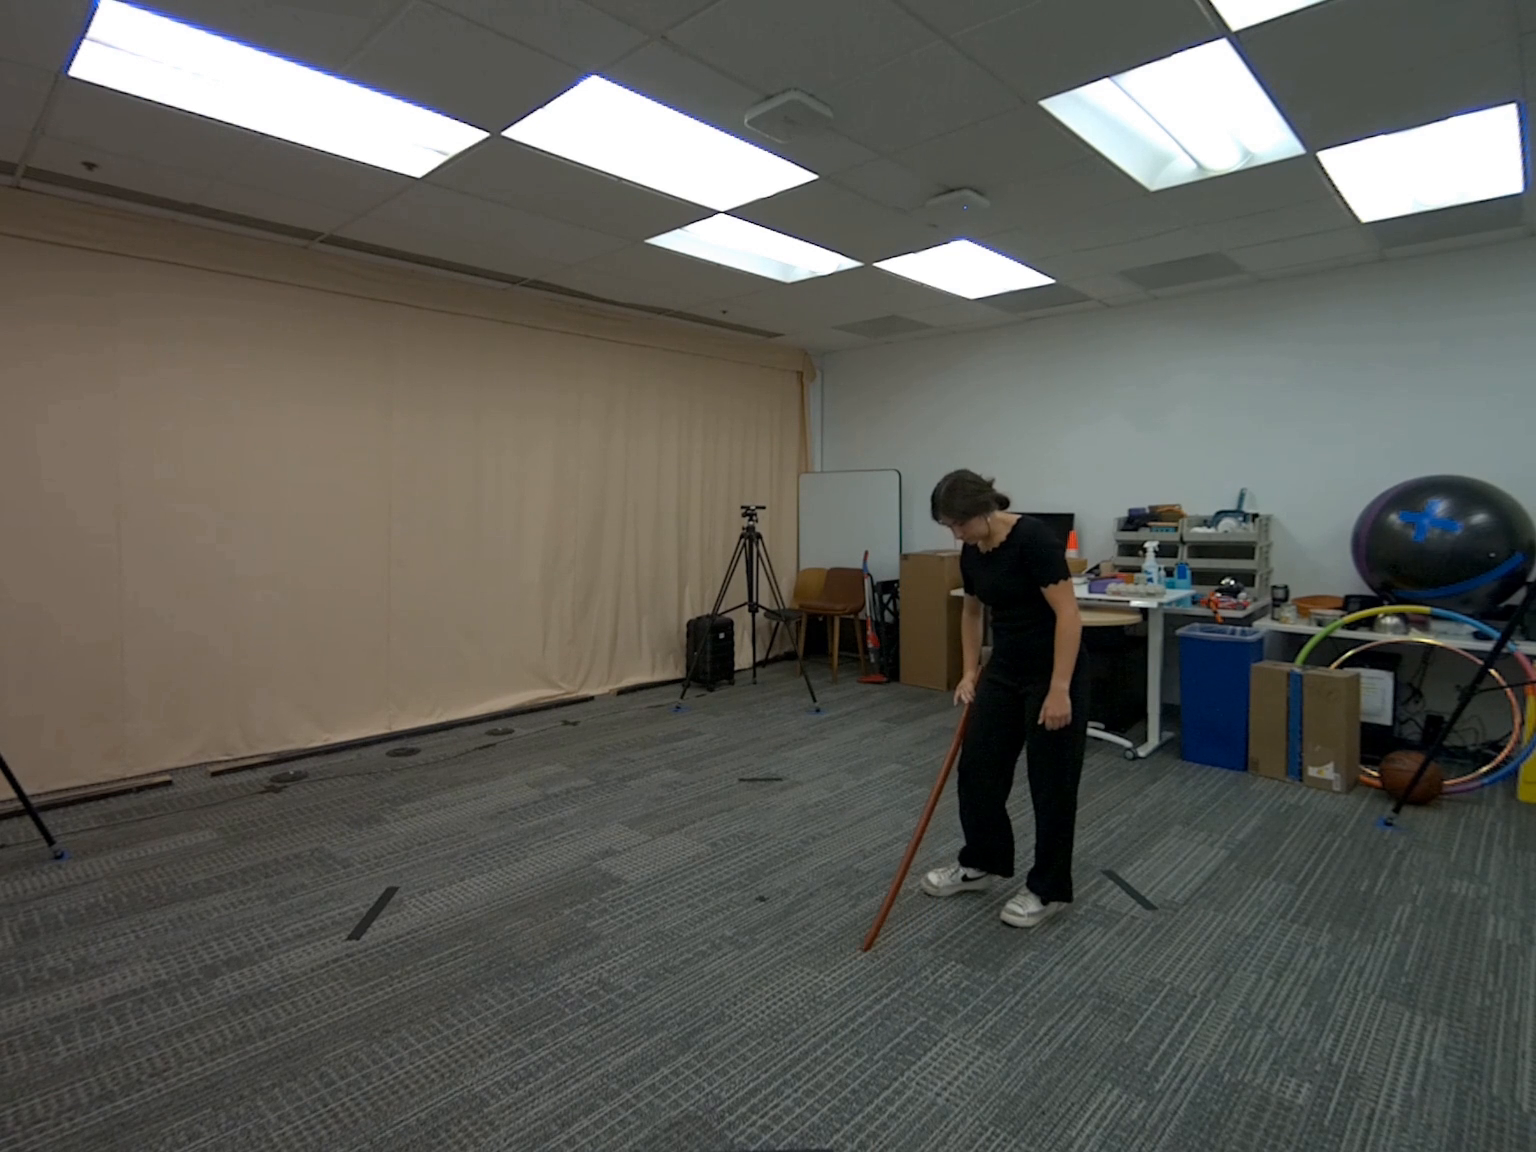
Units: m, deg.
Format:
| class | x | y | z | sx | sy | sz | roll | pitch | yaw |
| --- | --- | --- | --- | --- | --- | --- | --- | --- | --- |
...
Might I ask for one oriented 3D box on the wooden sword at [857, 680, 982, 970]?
| class | x | y | z | sx | sy | sz | roll | pitch | yaw |
| --- | --- | --- | --- | --- | --- | --- | --- | --- | --- |
| wooden sword | 0.539 | 0.785 | 2.802 | 0.053 | 1.024 | 0.023 | 15 | -28 | 32 |
